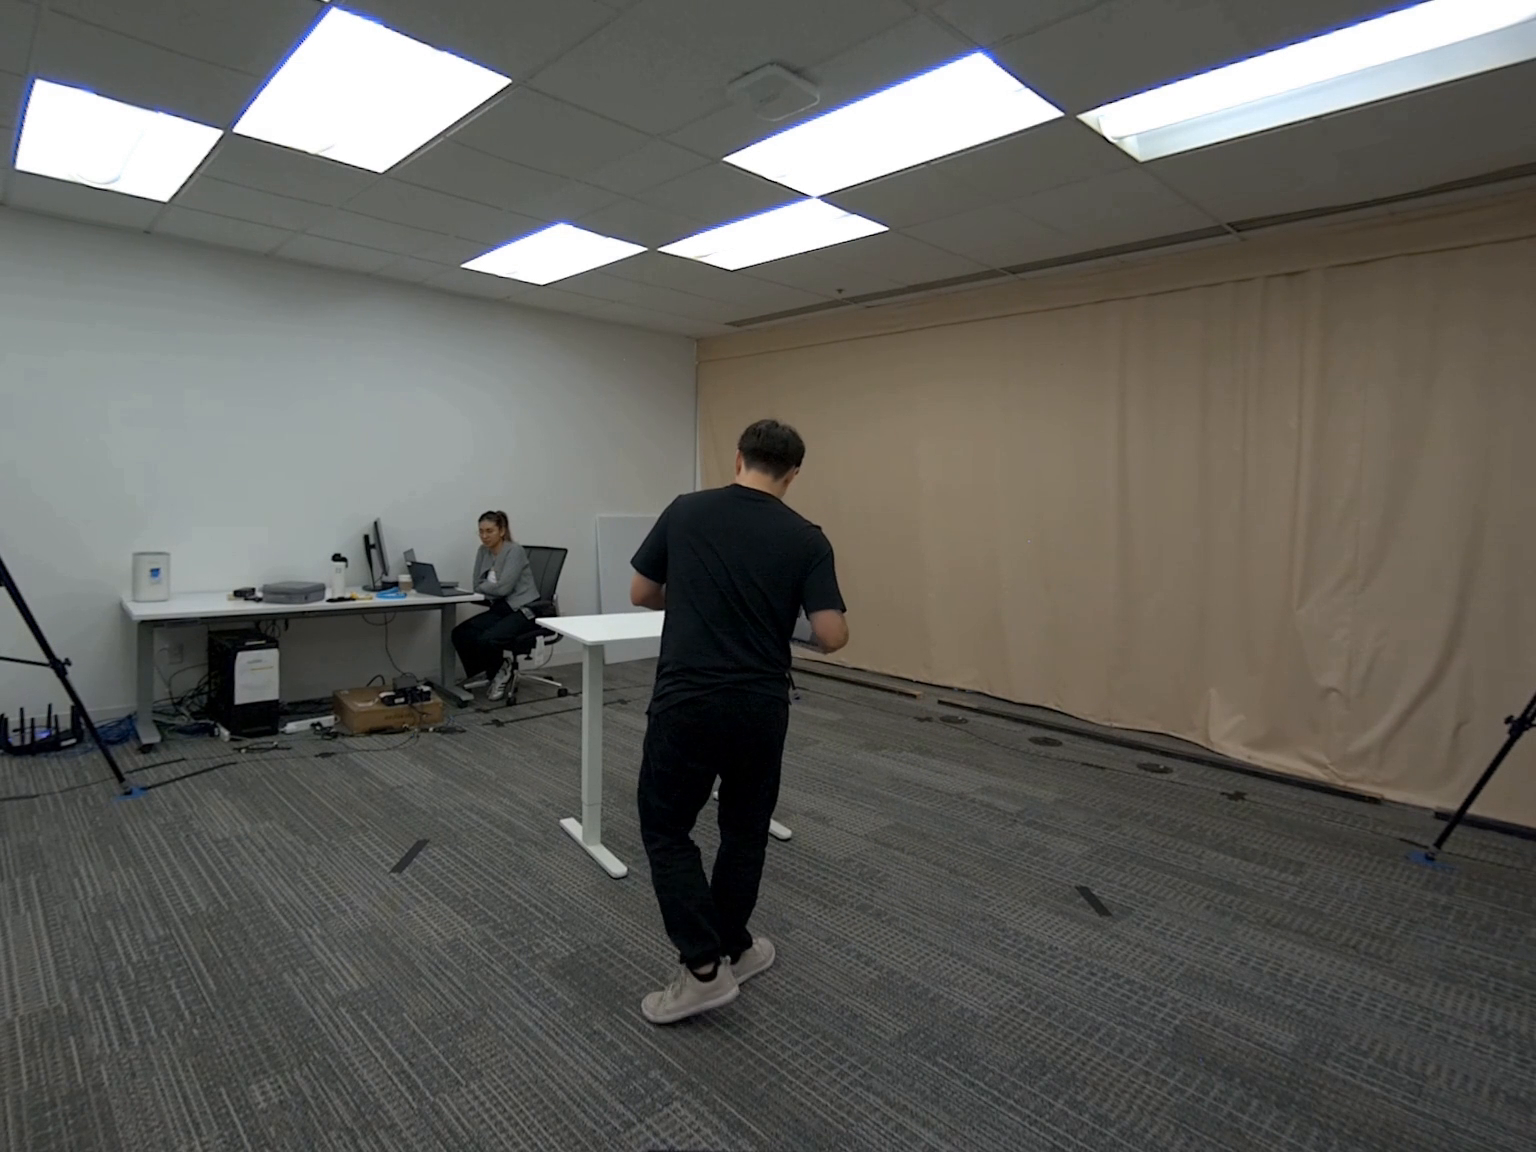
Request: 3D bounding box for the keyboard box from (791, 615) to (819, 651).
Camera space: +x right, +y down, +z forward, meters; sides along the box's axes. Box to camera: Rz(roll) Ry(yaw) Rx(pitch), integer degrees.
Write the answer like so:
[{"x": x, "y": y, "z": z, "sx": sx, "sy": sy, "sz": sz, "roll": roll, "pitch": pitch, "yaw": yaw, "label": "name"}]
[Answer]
[{"x": -0.013, "y": 0.101, "z": 2.607, "sx": 0.443, "sy": 0.177, "sz": 0.058, "roll": 16, "pitch": -28, "yaw": 14, "label": "keyboard box"}]
